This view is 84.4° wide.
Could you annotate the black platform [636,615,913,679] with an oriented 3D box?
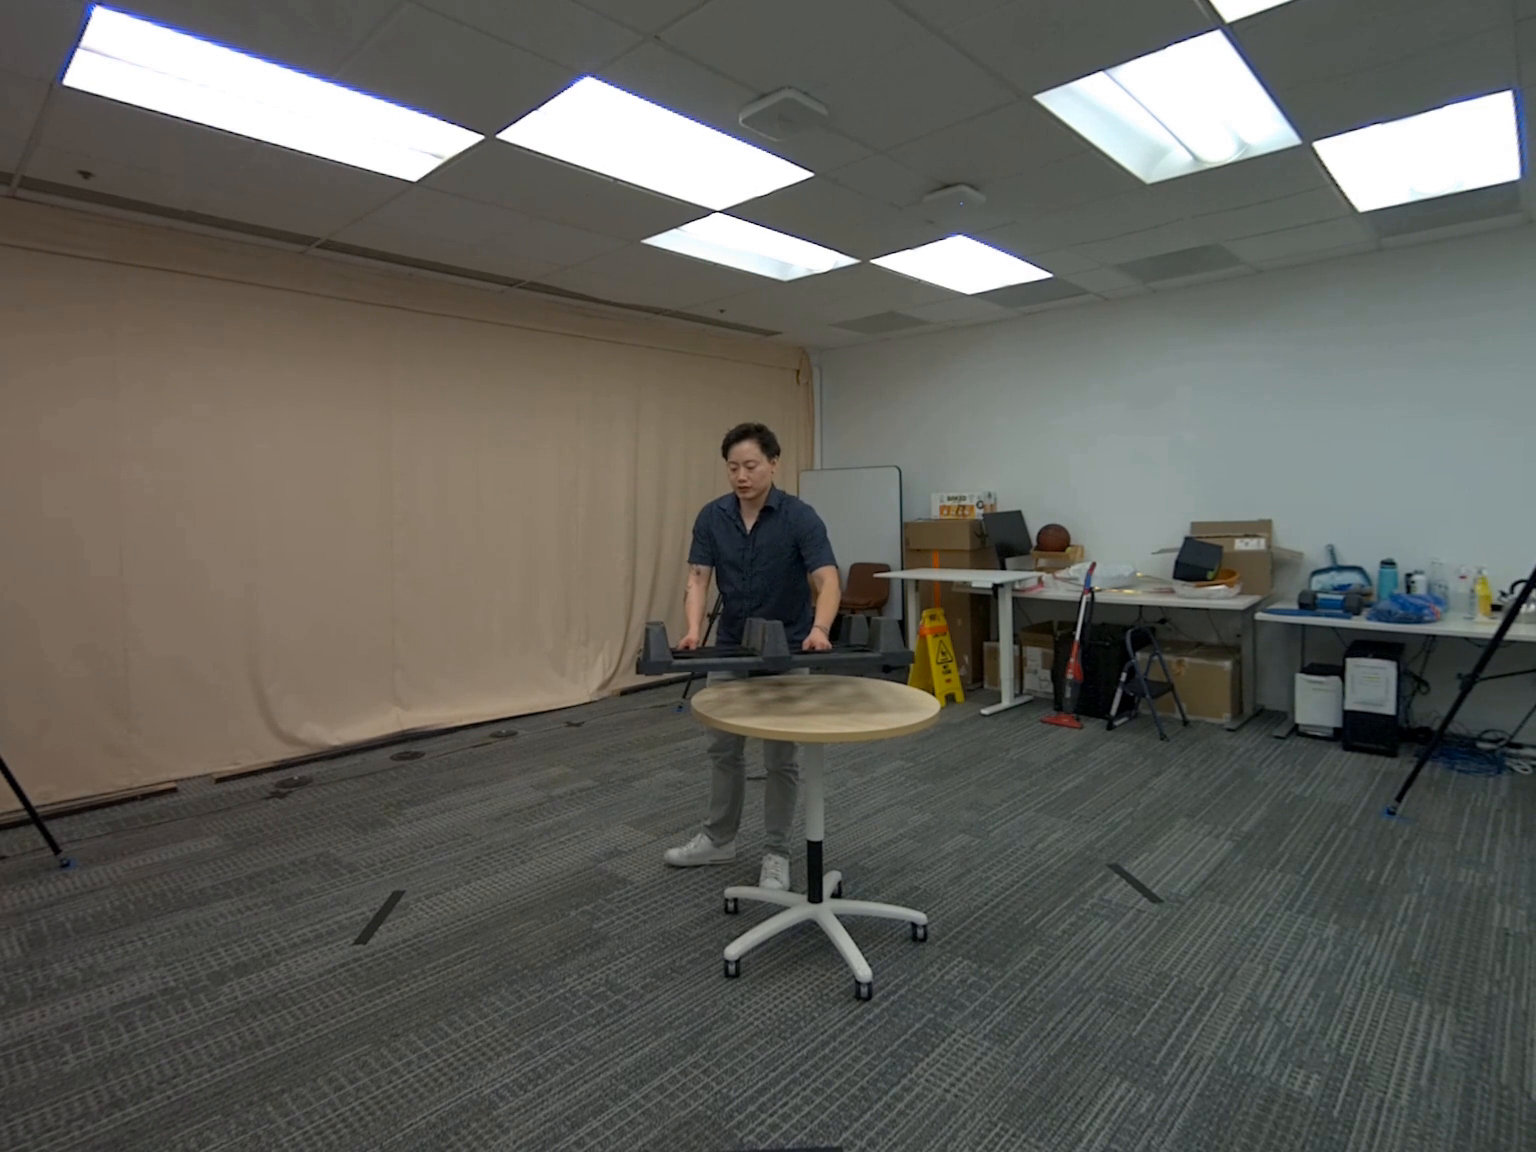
[{"bbox_3d":[-0.018,0.210,2.658,0.801,0.143,0.607,-2,-2,-6],"label":"black platform"}]
